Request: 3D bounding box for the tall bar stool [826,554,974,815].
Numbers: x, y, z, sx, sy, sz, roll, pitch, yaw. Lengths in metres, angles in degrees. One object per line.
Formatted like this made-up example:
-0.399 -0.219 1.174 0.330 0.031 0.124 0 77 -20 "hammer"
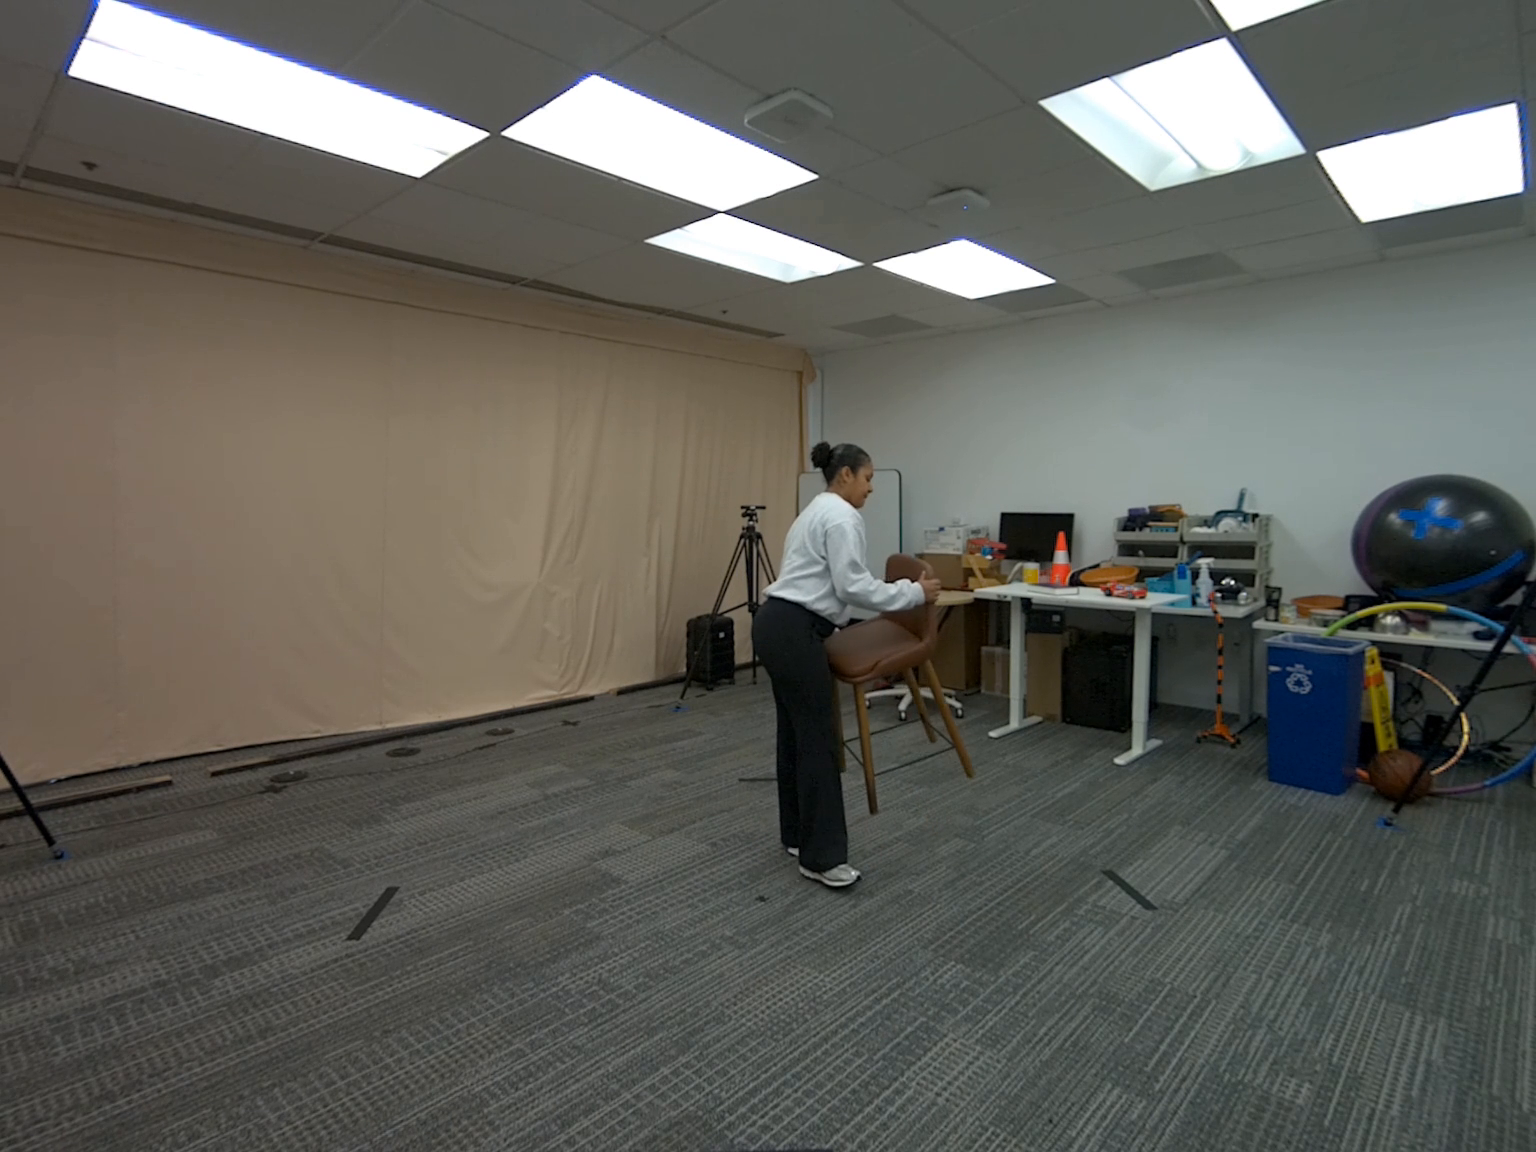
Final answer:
0.472 0.420 3.372 0.464 0.880 0.465 -14 14 -9 "tall bar stool"
